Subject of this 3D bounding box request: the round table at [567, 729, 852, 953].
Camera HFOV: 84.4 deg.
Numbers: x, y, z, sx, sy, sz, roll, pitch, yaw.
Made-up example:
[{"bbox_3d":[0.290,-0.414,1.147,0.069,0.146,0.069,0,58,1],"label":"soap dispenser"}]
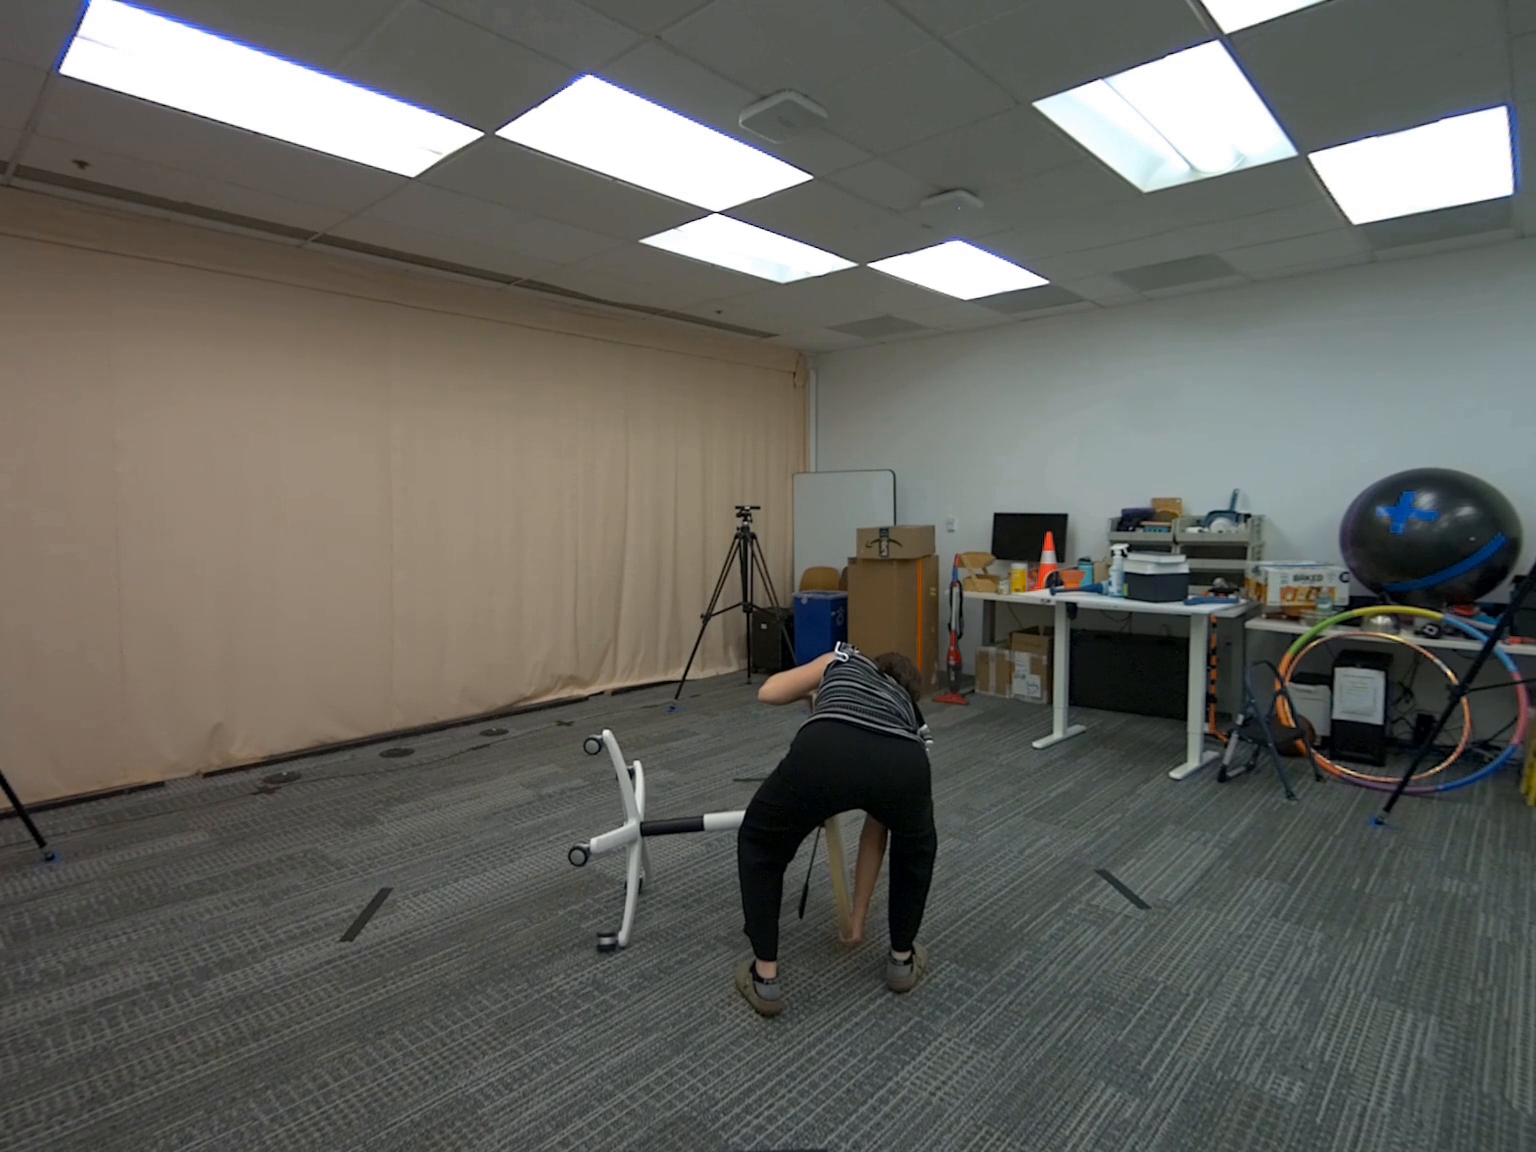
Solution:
[{"bbox_3d":[-0.173,0.814,2.777,0.792,0.784,0.781,-8,3,6],"label":"round table"}]
